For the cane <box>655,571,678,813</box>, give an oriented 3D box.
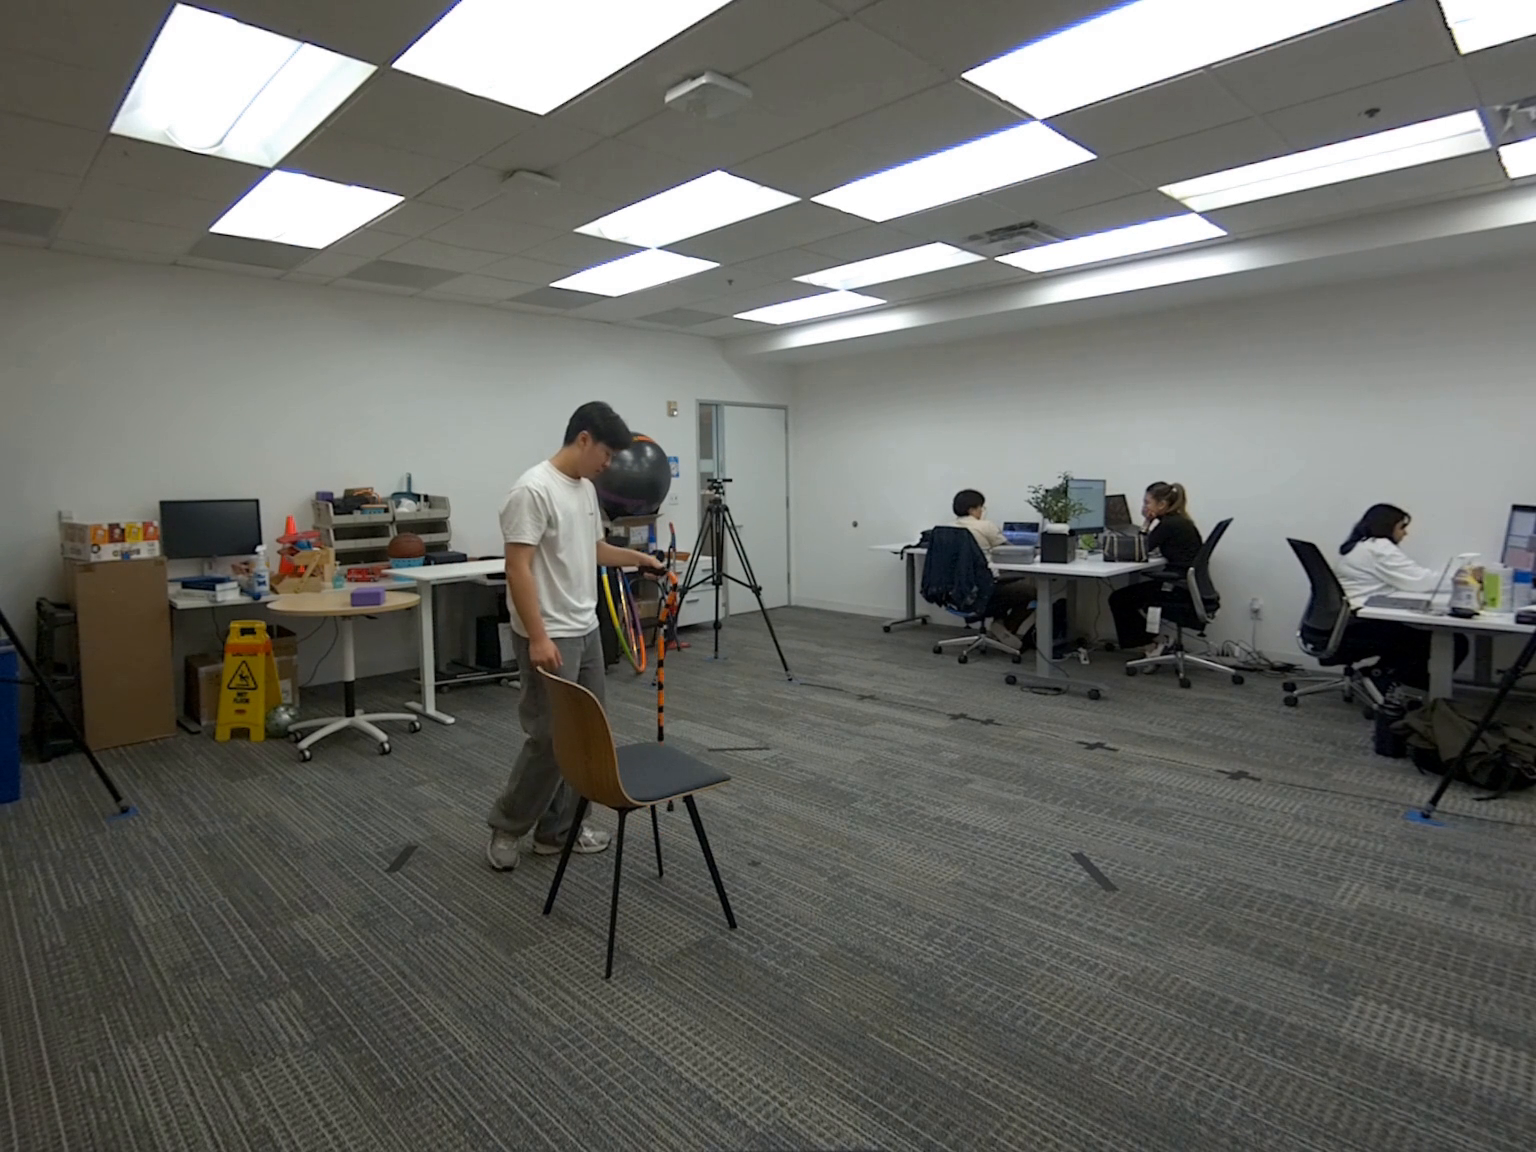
[{"bbox_3d":[-0.421,0.439,3.305,0.211,0.907,0.148,1,1,24],"label":"cane"}]
